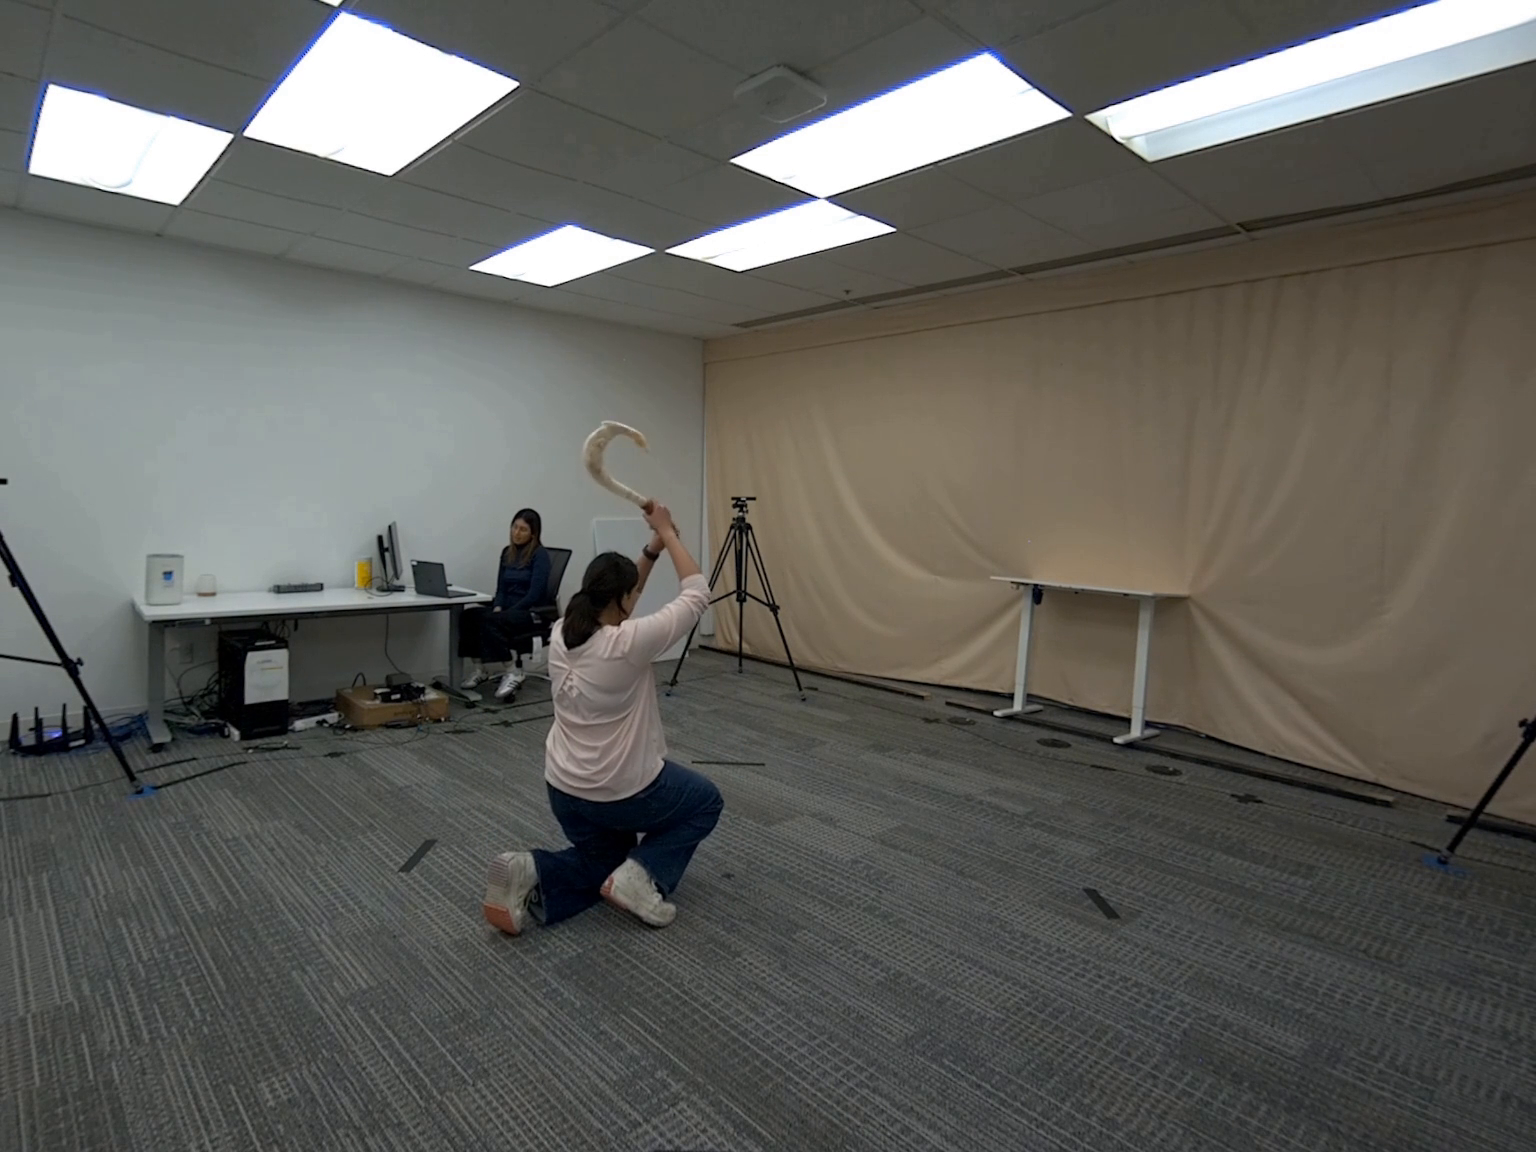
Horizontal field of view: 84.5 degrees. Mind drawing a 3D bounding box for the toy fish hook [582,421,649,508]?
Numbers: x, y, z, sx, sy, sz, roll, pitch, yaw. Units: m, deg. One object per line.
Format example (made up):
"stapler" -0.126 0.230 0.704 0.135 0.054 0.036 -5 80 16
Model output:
"toy fish hook" -0.427 -0.307 2.911 0.492 0.224 0.050 50 -12 -31
